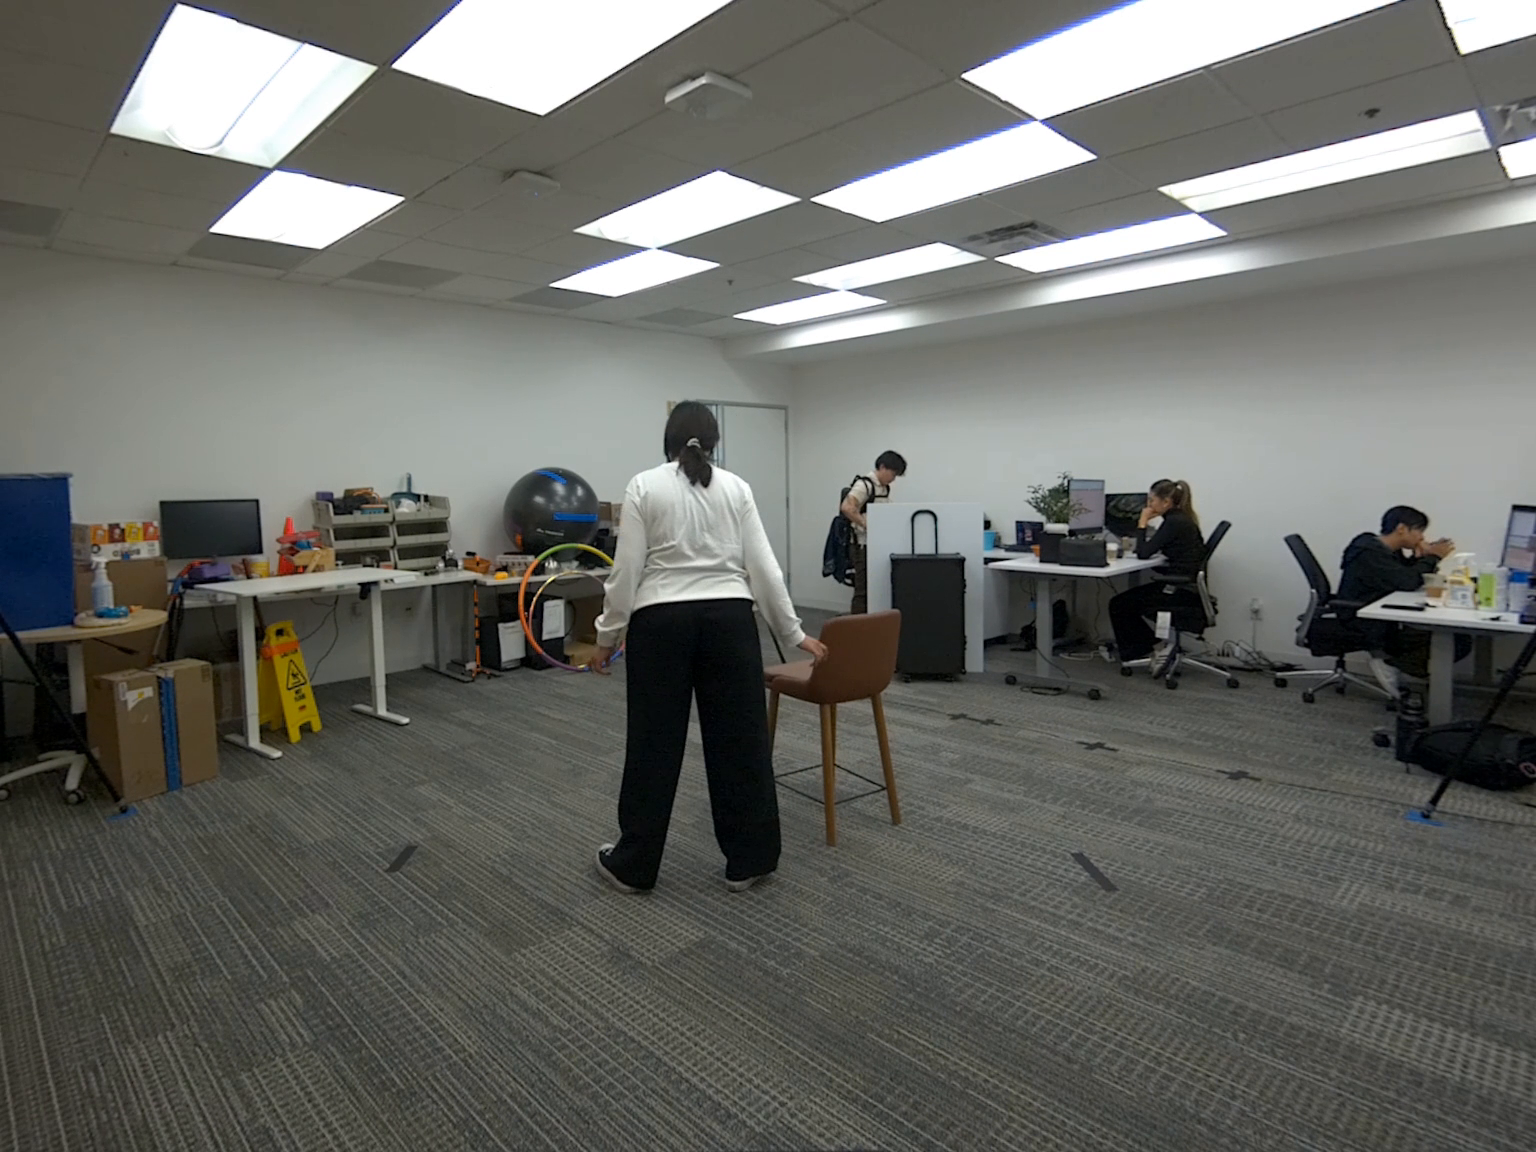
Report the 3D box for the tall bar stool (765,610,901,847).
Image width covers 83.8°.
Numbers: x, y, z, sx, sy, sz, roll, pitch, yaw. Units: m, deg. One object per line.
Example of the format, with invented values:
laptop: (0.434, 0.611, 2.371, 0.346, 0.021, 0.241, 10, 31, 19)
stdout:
tall bar stool: (0.254, 0.559, 3.504, 0.445, 0.885, 0.482, -4, 7, -35)
